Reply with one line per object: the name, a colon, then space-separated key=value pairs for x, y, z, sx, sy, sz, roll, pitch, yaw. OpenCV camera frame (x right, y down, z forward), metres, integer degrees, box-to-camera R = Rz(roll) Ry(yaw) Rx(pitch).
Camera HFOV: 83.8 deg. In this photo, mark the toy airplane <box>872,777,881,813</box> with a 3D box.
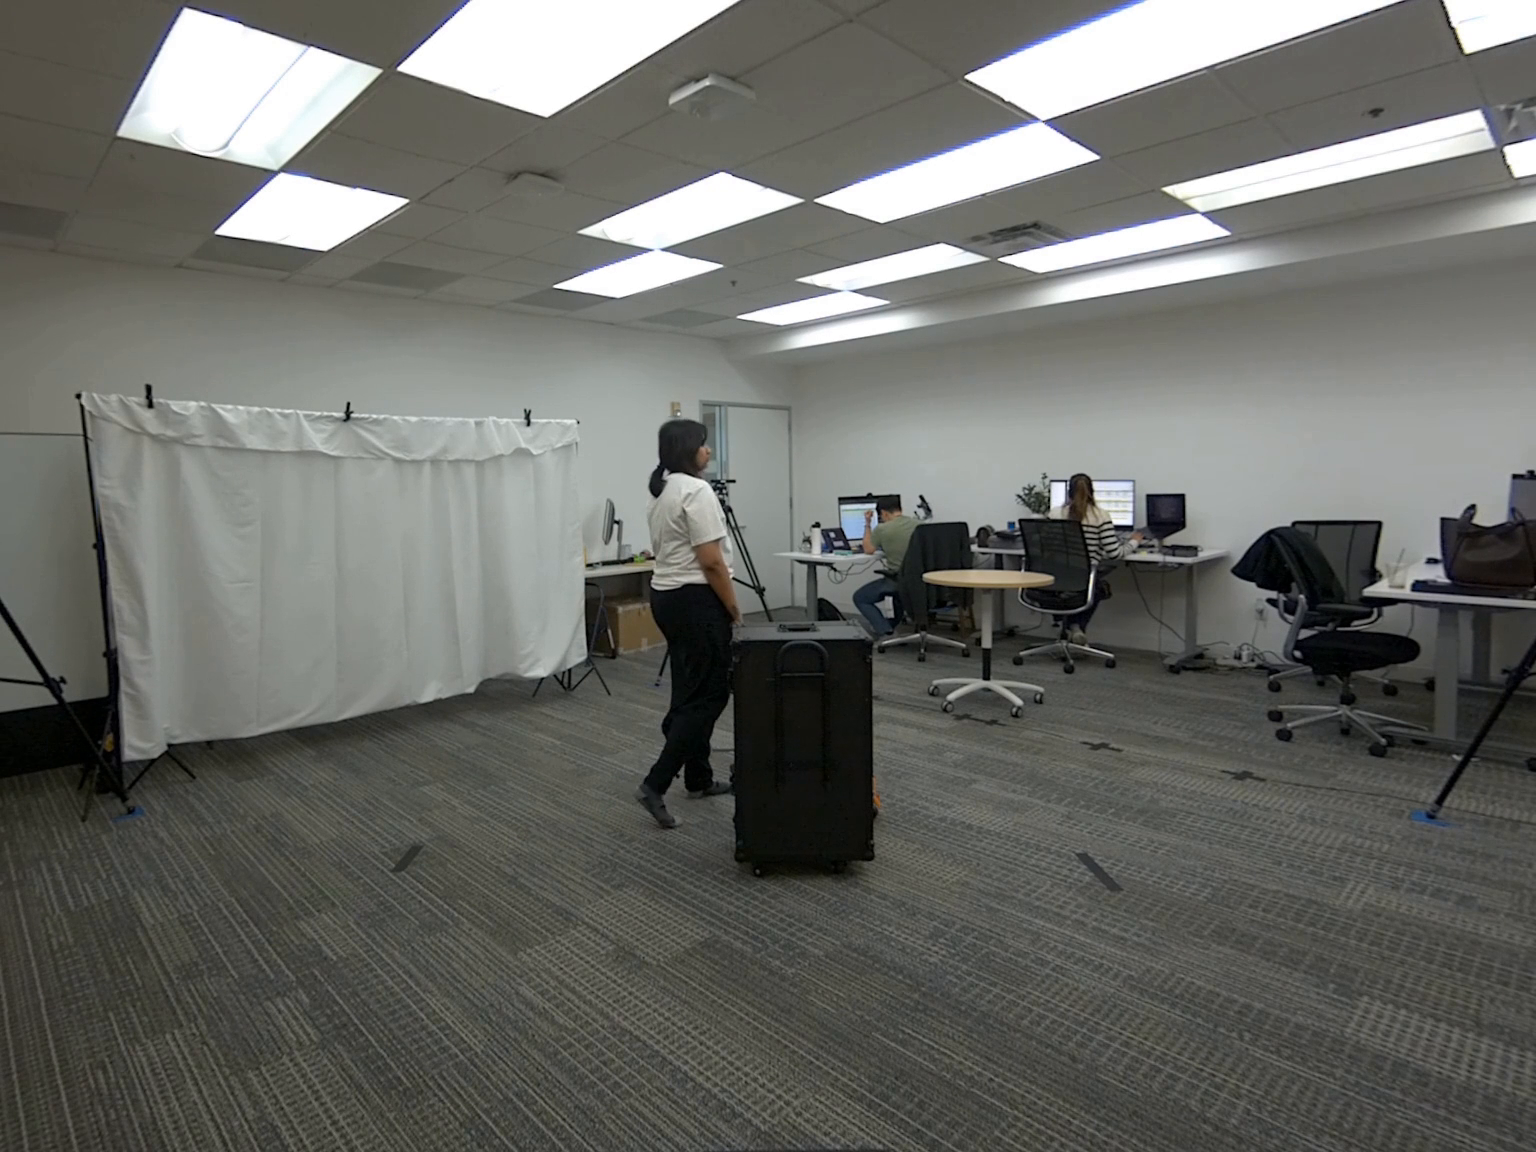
toy airplane: x=0.336 y=0.925 z=3.516 sx=0.262 sy=0.156 sz=0.249 roll=2 pitch=5 yaw=11
